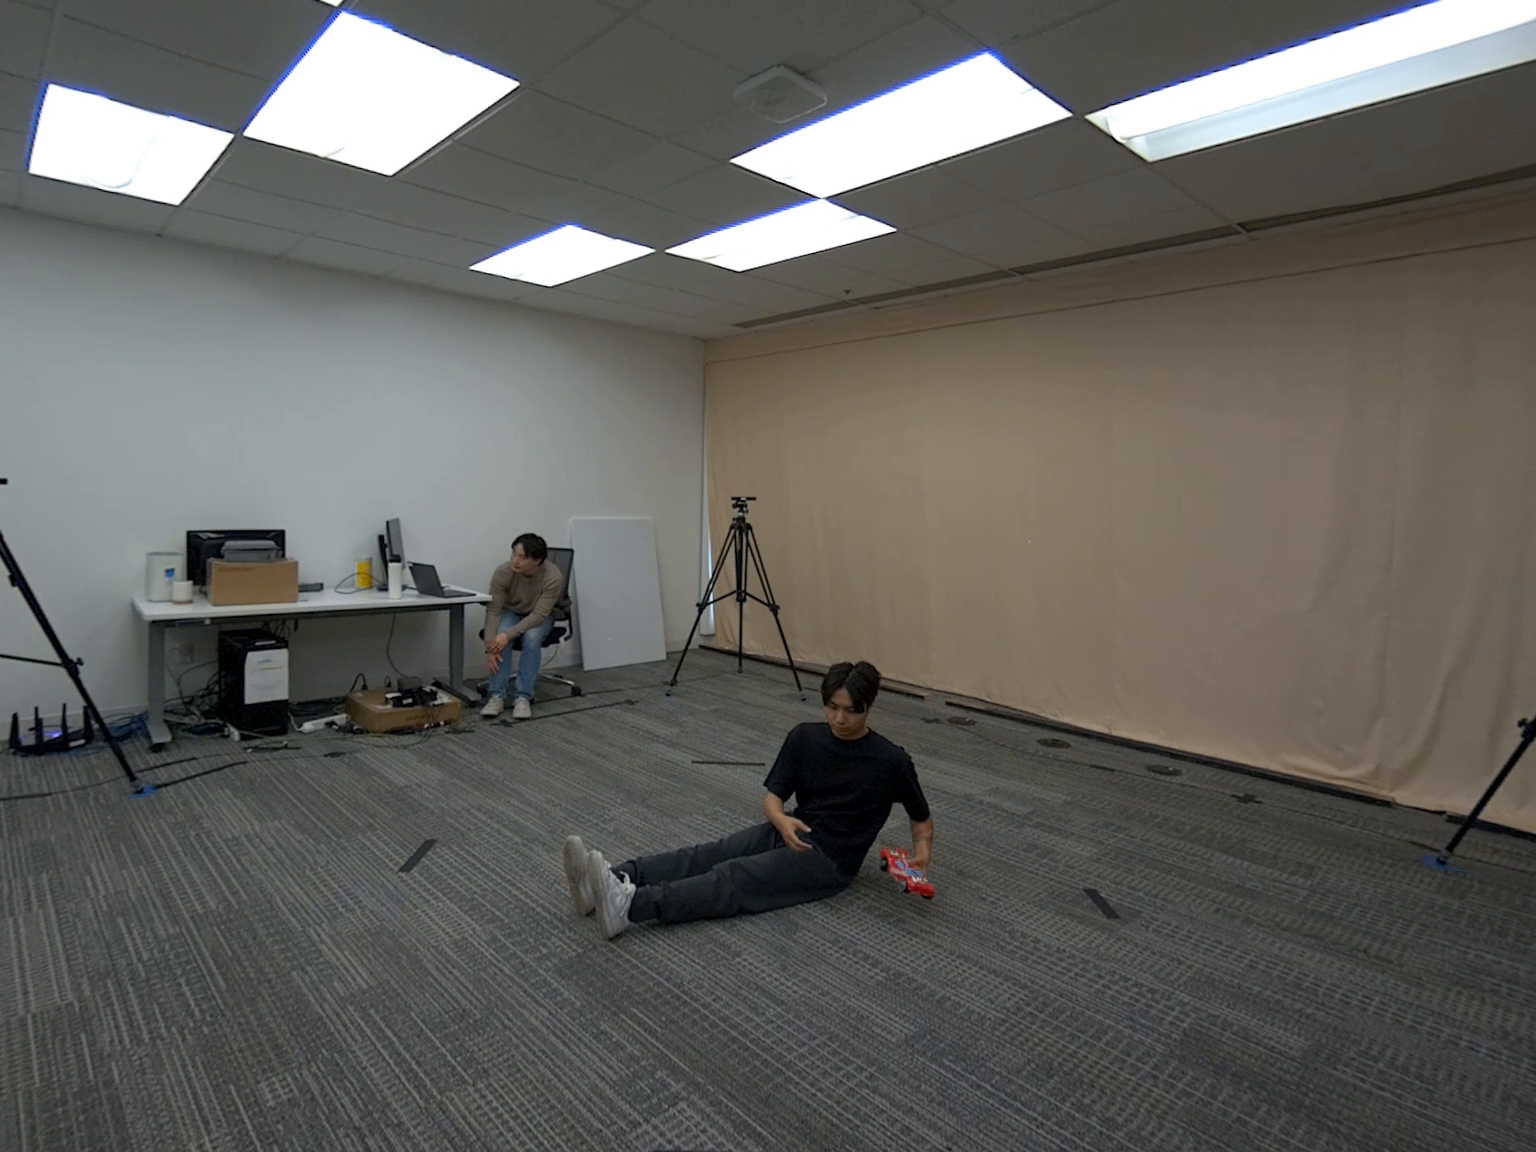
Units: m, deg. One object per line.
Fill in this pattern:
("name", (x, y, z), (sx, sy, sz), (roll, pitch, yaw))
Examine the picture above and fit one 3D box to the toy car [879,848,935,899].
("toy car", (0.436, 0.997, 2.839), (0.128, 0.083, 0.259), (23, 12, -14))
